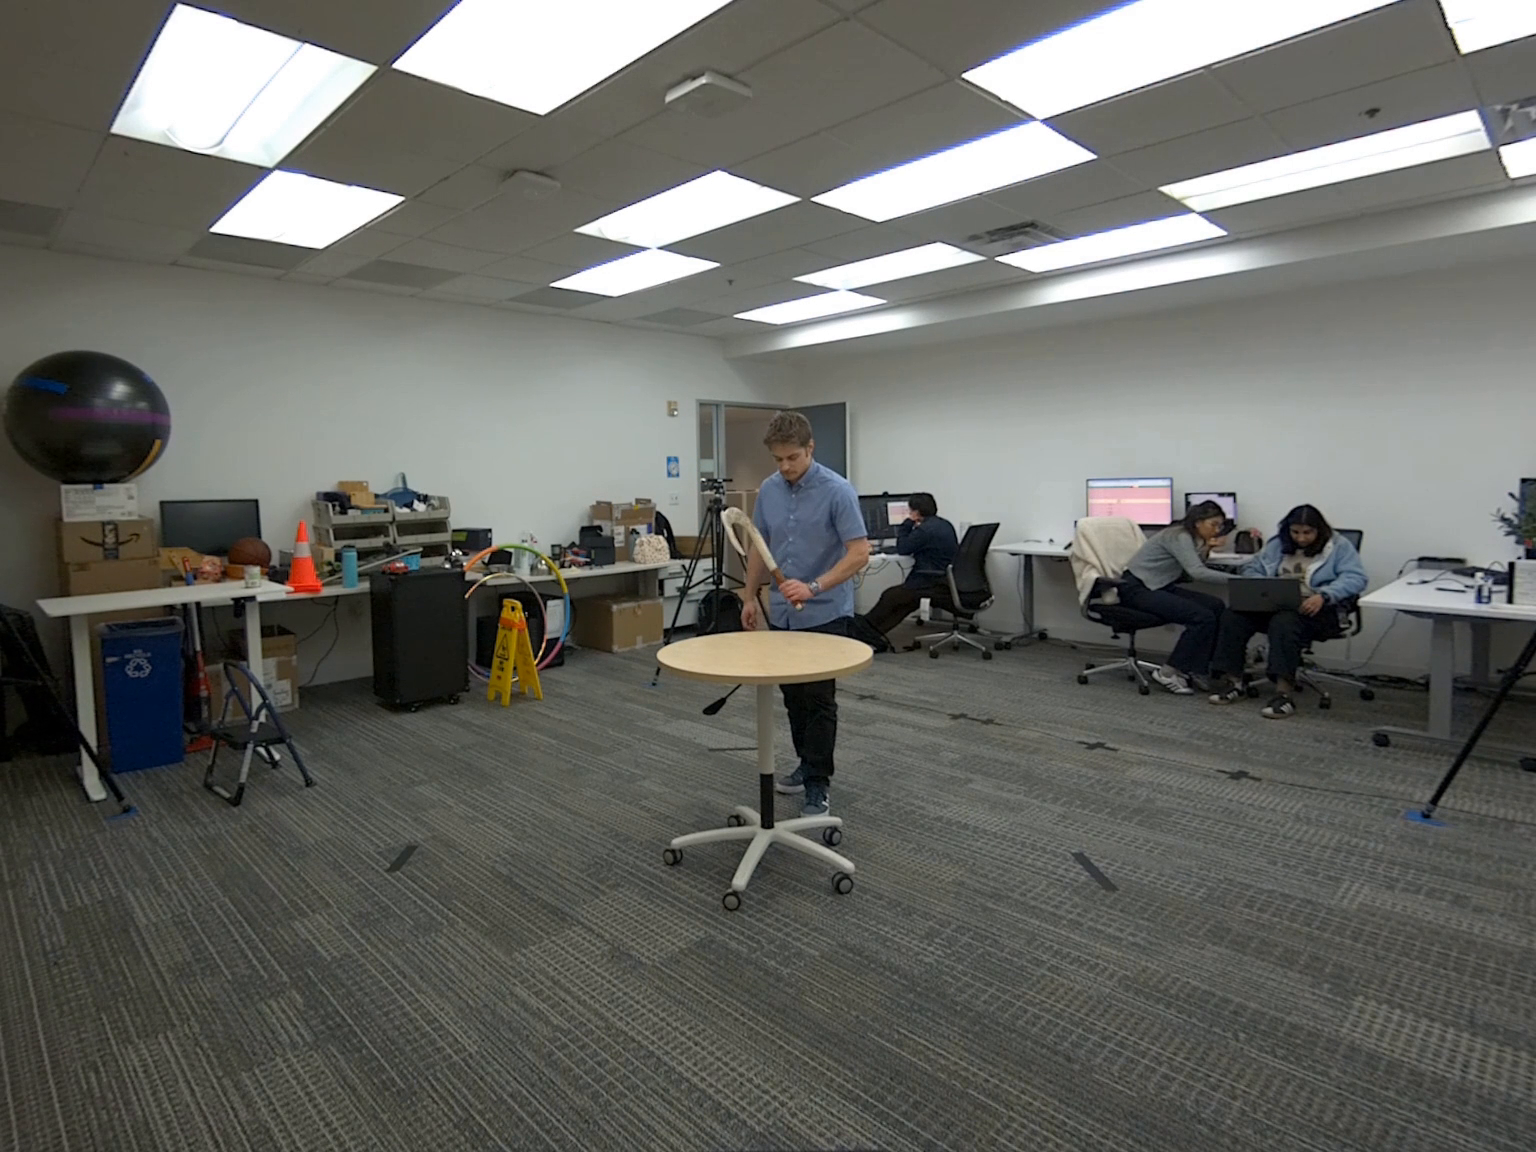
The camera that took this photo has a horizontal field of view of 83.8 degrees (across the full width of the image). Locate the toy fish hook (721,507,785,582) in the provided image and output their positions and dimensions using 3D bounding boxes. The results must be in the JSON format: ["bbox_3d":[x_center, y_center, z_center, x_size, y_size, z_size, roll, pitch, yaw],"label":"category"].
[{"bbox_3d":[-0.024,-0.050,3.429,0.048,0.509,0.222,-37,-4,32],"label":"toy fish hook"}]
